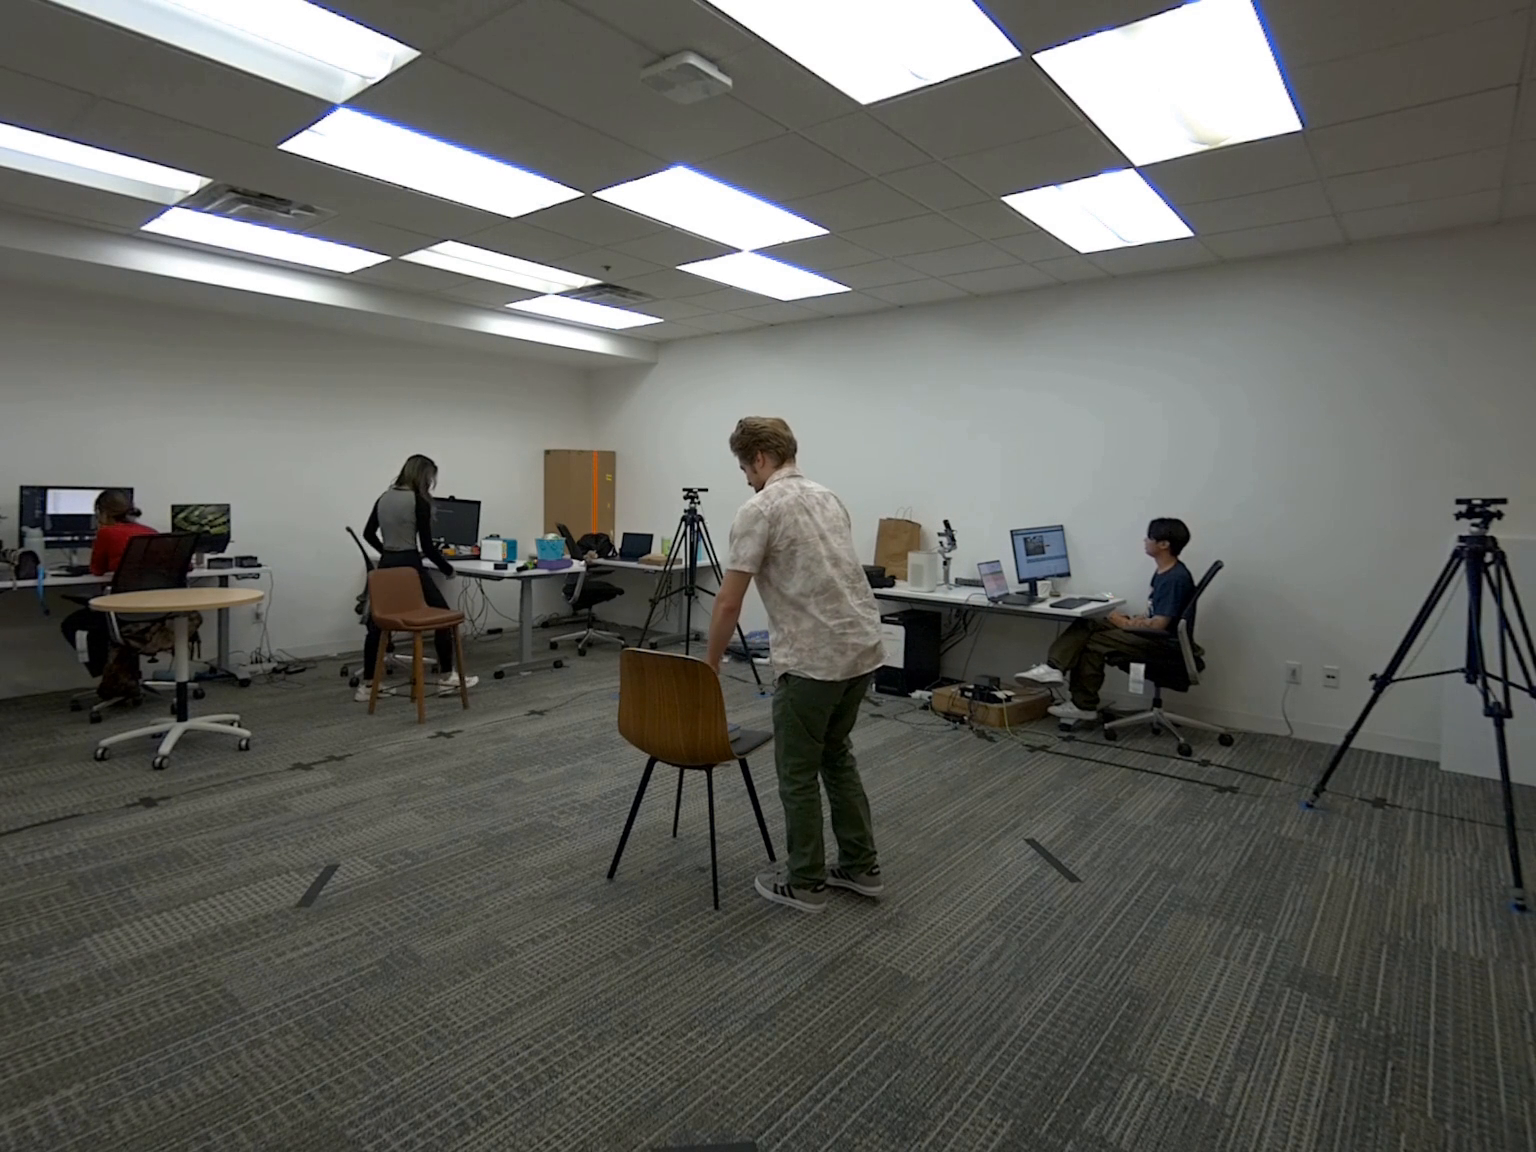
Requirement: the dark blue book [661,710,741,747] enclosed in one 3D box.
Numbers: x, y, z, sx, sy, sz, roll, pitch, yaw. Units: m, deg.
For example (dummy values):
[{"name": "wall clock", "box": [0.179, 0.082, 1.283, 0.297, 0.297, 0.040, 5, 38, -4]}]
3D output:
[{"name": "dark blue book", "box": [-0.250, 0.560, 3.110, 0.253, 0.045, 0.159, 5, 10, 37]}]
